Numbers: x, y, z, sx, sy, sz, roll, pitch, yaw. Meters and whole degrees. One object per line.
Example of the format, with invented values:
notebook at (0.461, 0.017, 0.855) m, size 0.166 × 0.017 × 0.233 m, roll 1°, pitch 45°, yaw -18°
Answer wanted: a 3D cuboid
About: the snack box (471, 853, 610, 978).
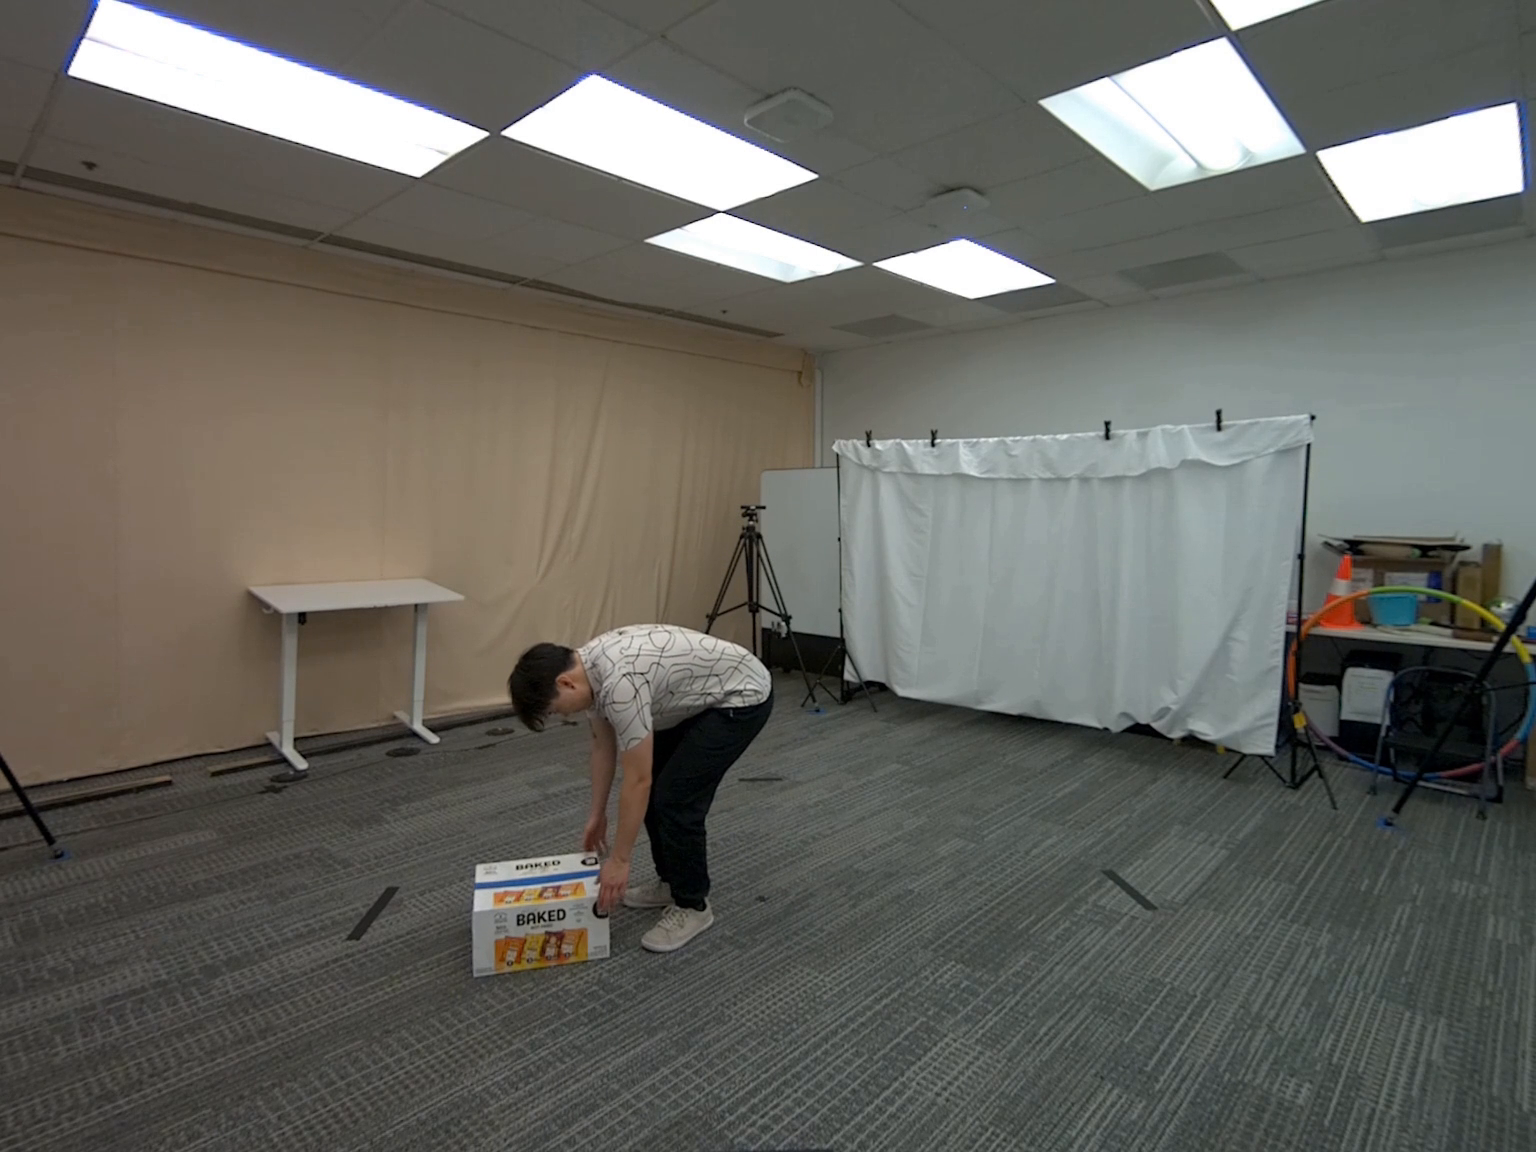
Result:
snack box at (-0.736, 1.072, 2.692) m, size 0.398 × 0.205 × 0.347 m, roll -1°, pitch 4°, yaw -17°
